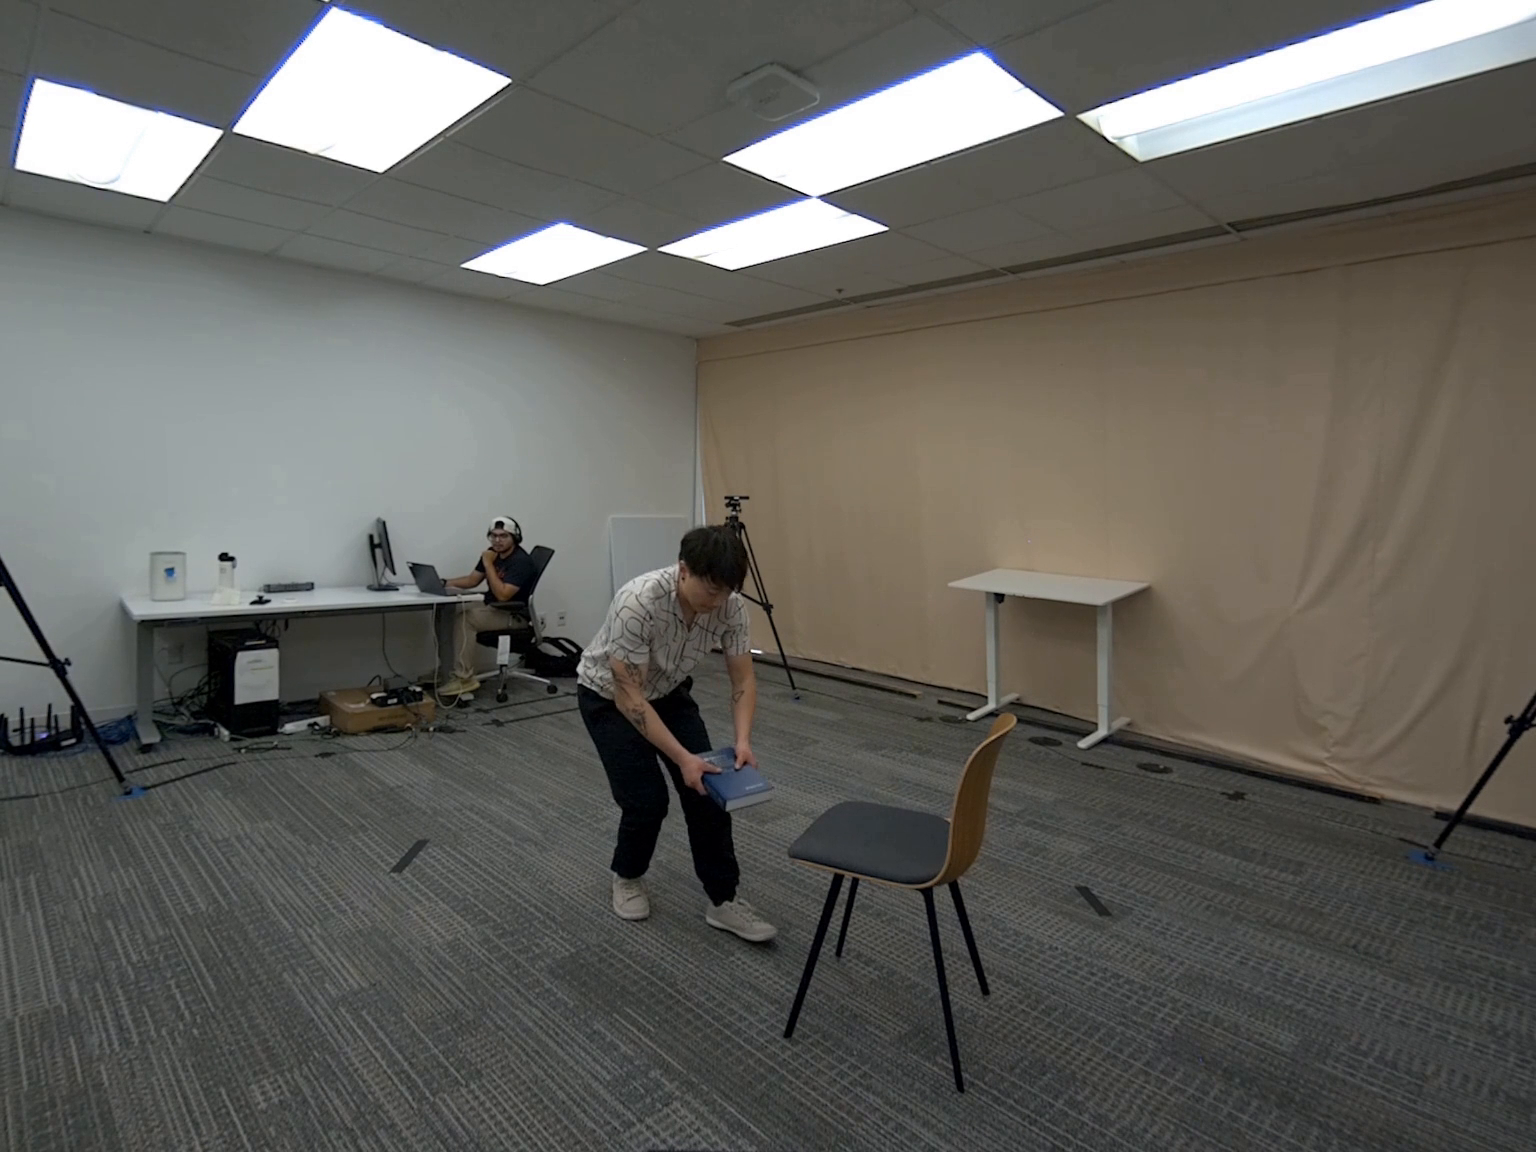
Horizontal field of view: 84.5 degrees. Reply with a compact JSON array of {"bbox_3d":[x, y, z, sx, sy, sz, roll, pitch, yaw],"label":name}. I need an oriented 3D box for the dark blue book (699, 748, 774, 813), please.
[{"bbox_3d":[-0.130,0.611,2.486,0.160,0.045,0.252,-6,17,-31],"label":"dark blue book"}]
